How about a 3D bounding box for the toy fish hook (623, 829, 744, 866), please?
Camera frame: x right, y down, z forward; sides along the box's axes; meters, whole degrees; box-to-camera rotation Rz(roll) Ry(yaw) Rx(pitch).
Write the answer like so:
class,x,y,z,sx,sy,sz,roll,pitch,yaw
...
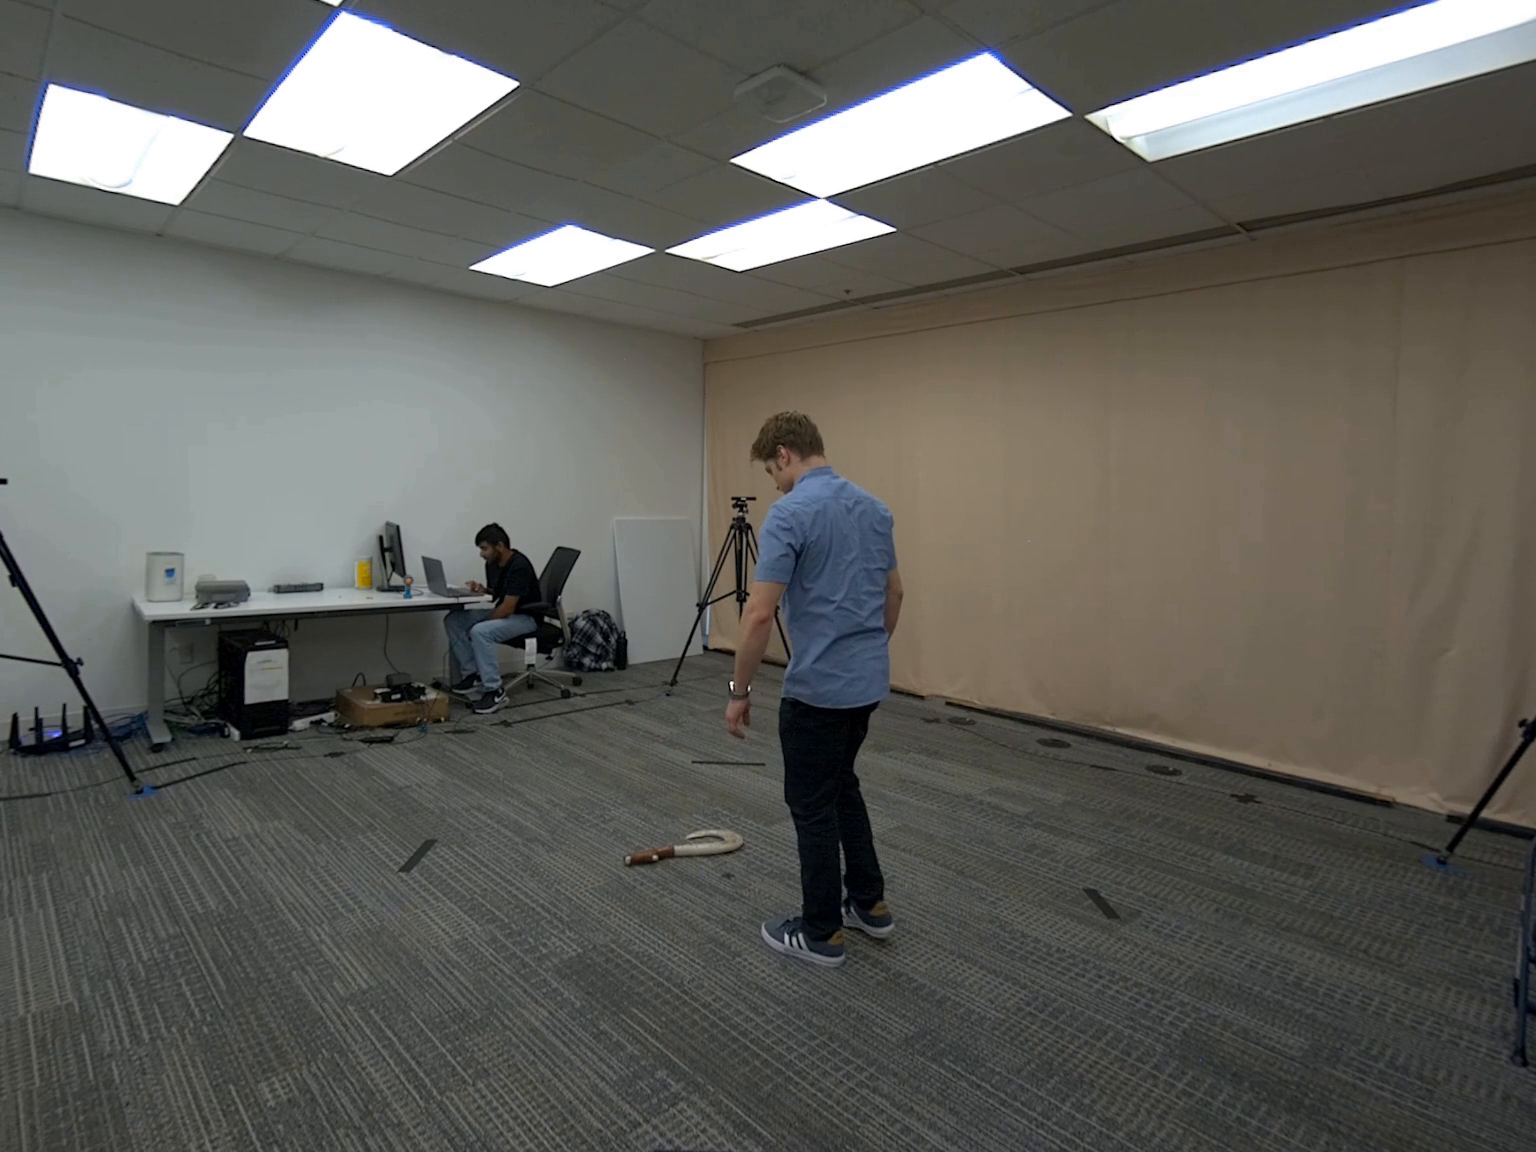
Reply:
class,x,y,z,sx,sy,sz,roll,pitch,yaw
toy fish hook,-0.352,1.070,3.320,0.497,0.048,0.228,0,-3,-27
